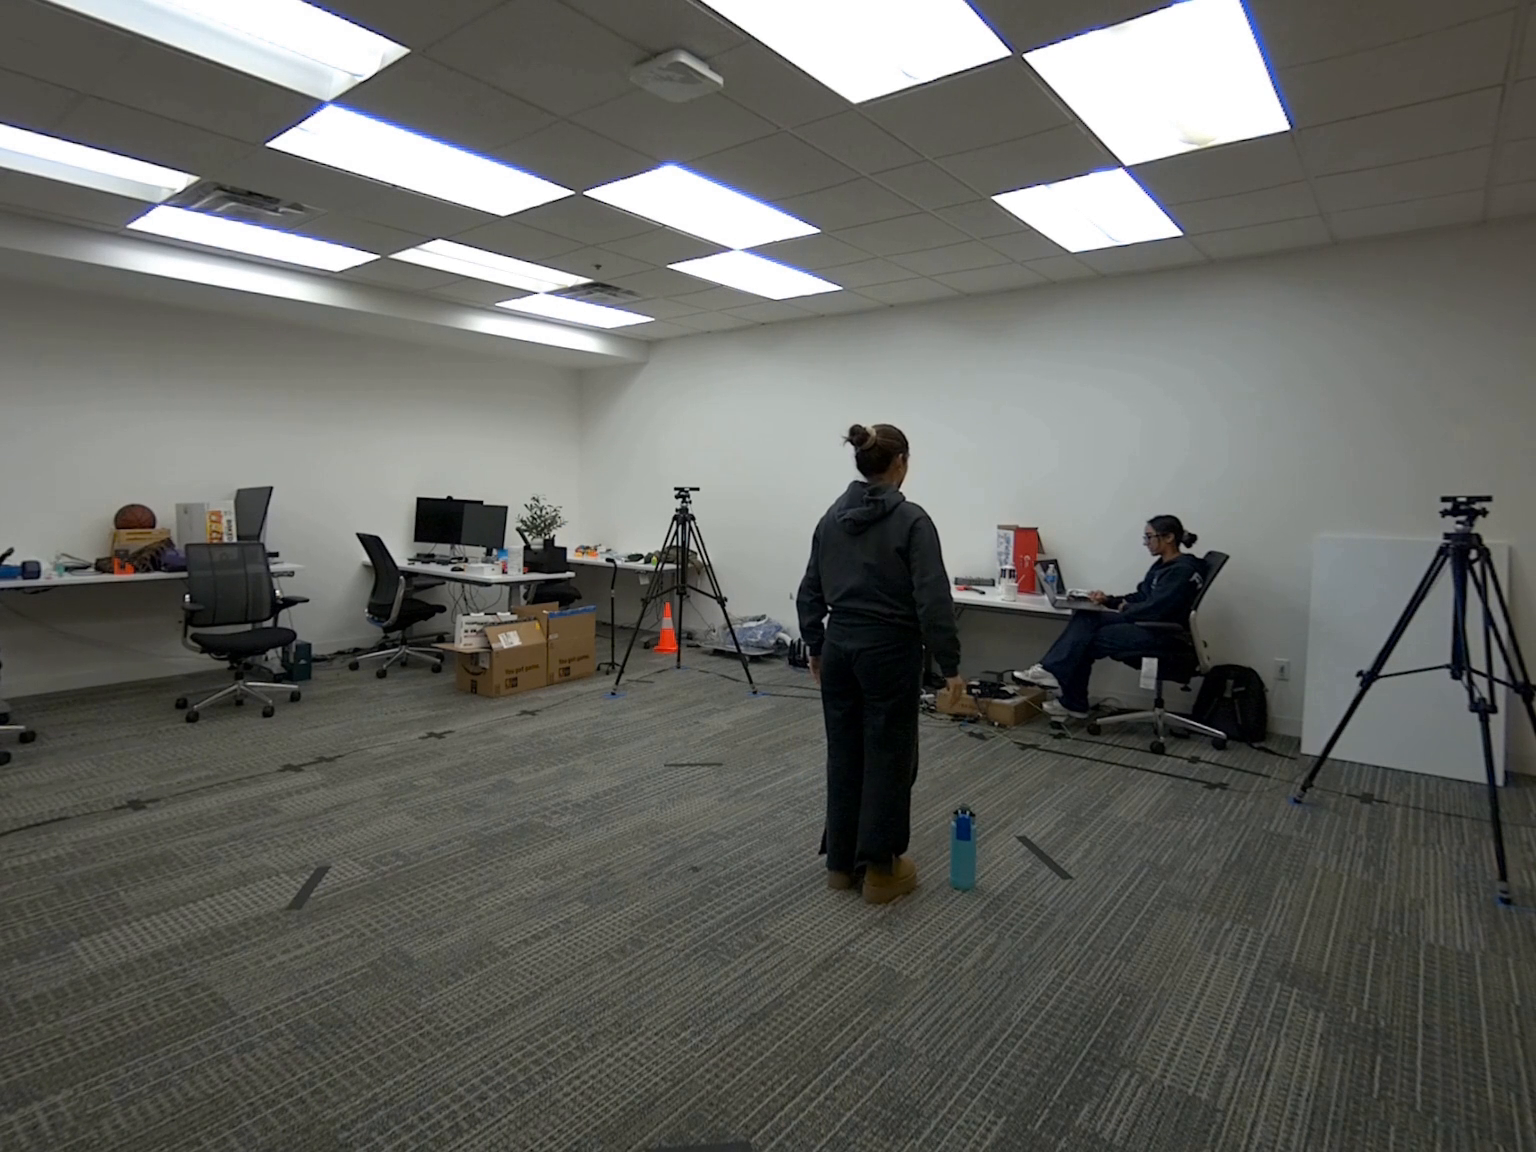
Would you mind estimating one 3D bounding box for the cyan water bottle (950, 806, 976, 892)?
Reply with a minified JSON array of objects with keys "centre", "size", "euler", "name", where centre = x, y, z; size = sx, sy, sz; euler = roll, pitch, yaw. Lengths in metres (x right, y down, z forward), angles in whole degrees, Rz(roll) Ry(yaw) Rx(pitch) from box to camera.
[{"centre":[0.700,0.953,3.020],"size":[0.092,0.282,0.093],"euler":[0,6,-2],"name":"cyan water bottle"}]
